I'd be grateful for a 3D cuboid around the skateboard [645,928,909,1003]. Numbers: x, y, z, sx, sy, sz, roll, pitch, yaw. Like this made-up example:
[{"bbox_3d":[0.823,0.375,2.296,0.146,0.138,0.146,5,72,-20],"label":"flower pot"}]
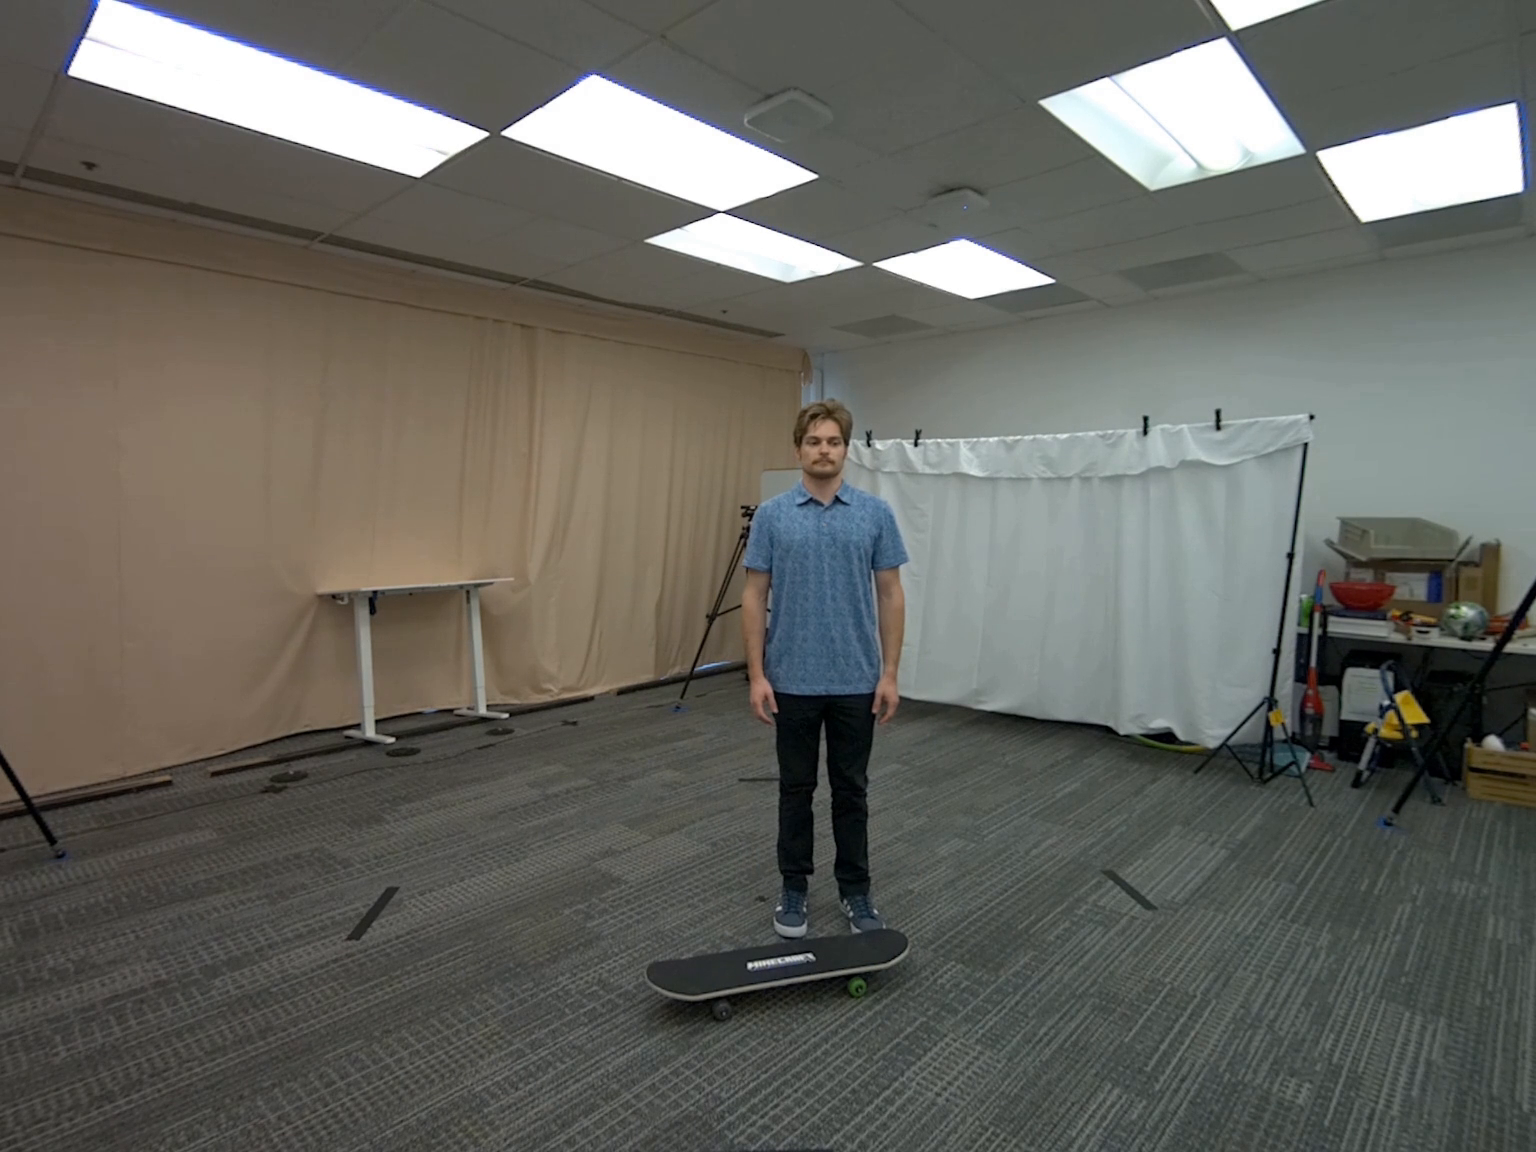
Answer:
[{"bbox_3d":[0.041,1.144,2.399,0.773,0.110,0.197,-1,4,-15],"label":"skateboard"}]
